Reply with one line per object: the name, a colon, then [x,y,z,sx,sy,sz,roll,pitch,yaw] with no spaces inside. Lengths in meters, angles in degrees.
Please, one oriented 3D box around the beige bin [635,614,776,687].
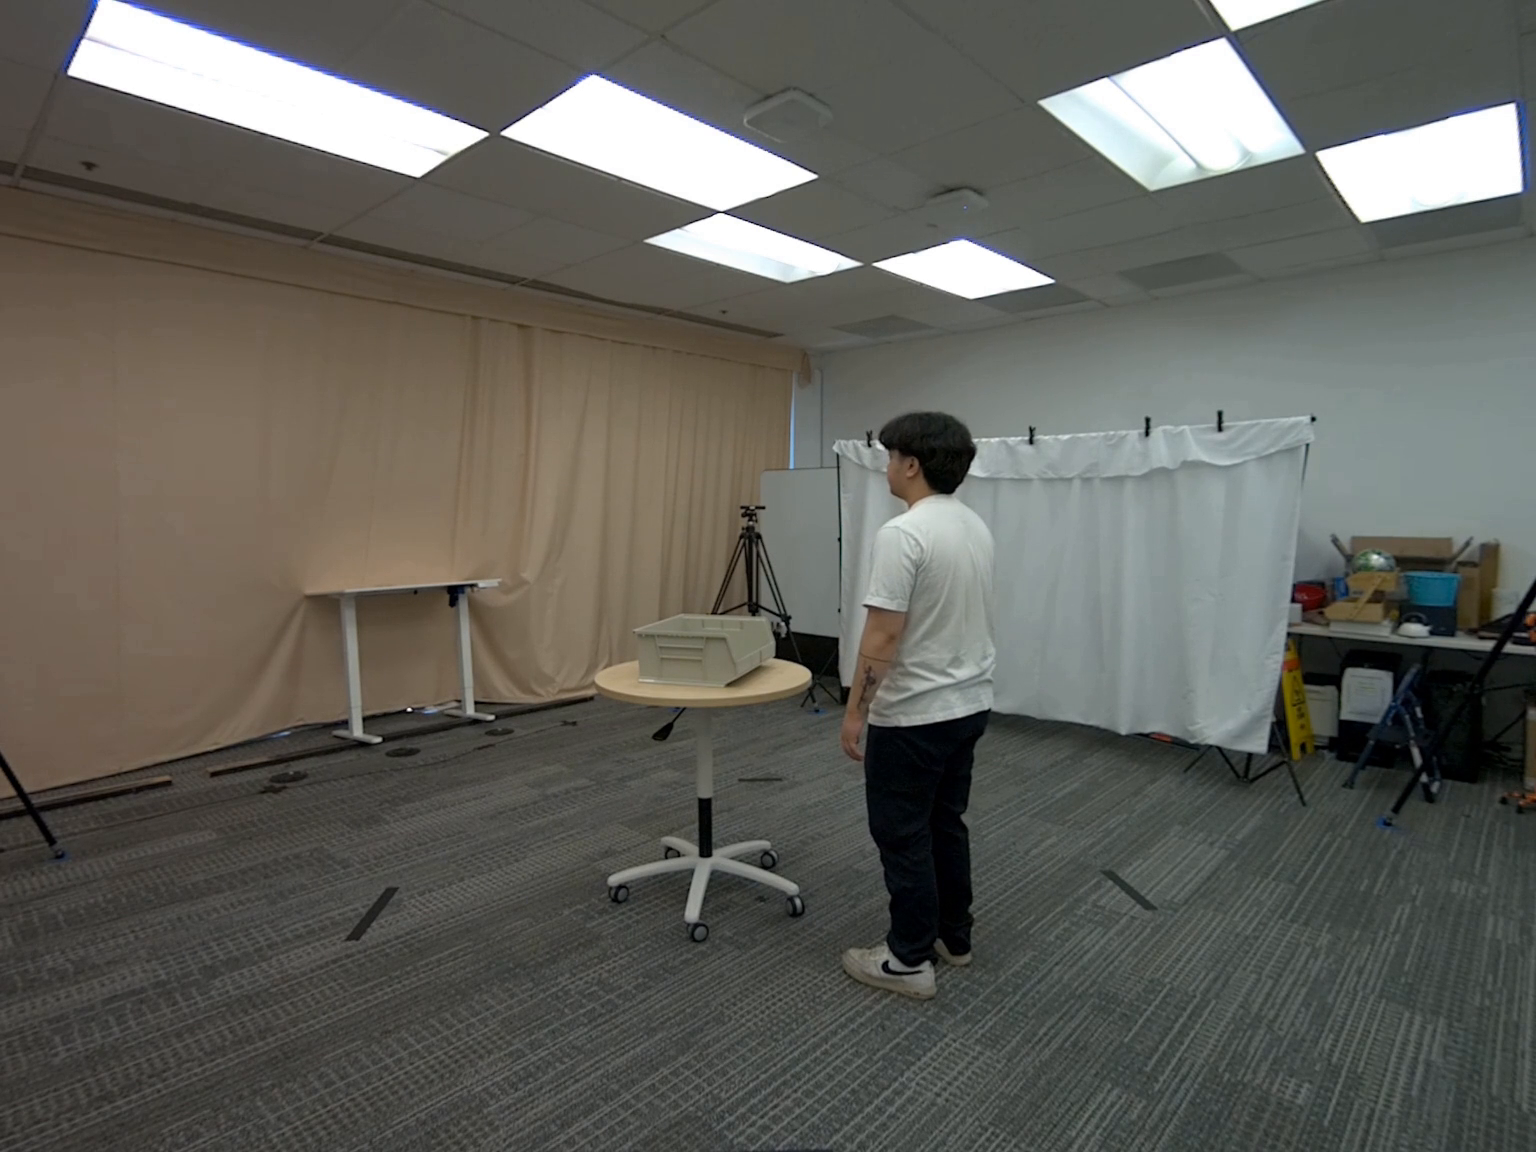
beige bin: [-0.216,0.259,2.987,0.385,0.188,0.415,-1,5,19]
